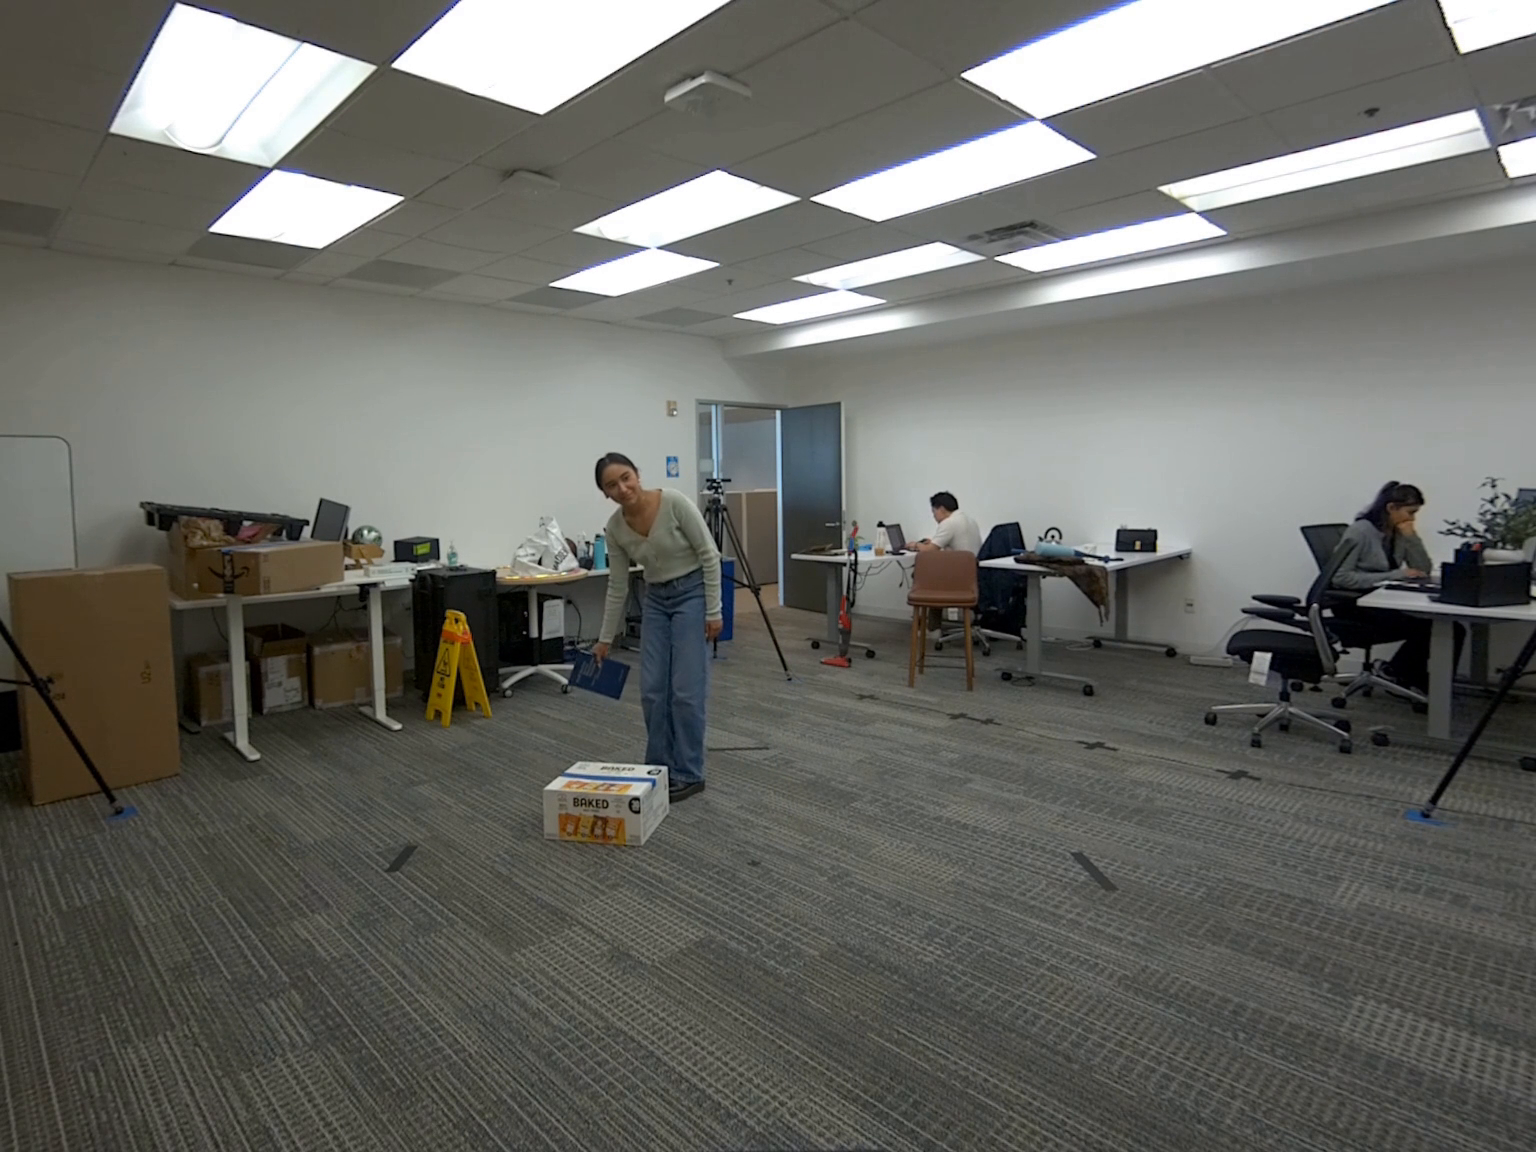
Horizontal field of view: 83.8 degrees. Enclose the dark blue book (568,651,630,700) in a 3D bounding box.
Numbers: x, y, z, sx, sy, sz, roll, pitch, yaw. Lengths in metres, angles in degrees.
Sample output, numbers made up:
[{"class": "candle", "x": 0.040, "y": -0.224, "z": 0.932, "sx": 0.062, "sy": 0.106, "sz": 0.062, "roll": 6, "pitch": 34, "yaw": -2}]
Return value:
[{"class": "dark blue book", "x": -0.764, "y": 0.447, "z": 3.899, "sx": 0.243, "sy": 0.163, "sz": 0.045, "roll": 18, "pitch": -2, "yaw": -7}]
